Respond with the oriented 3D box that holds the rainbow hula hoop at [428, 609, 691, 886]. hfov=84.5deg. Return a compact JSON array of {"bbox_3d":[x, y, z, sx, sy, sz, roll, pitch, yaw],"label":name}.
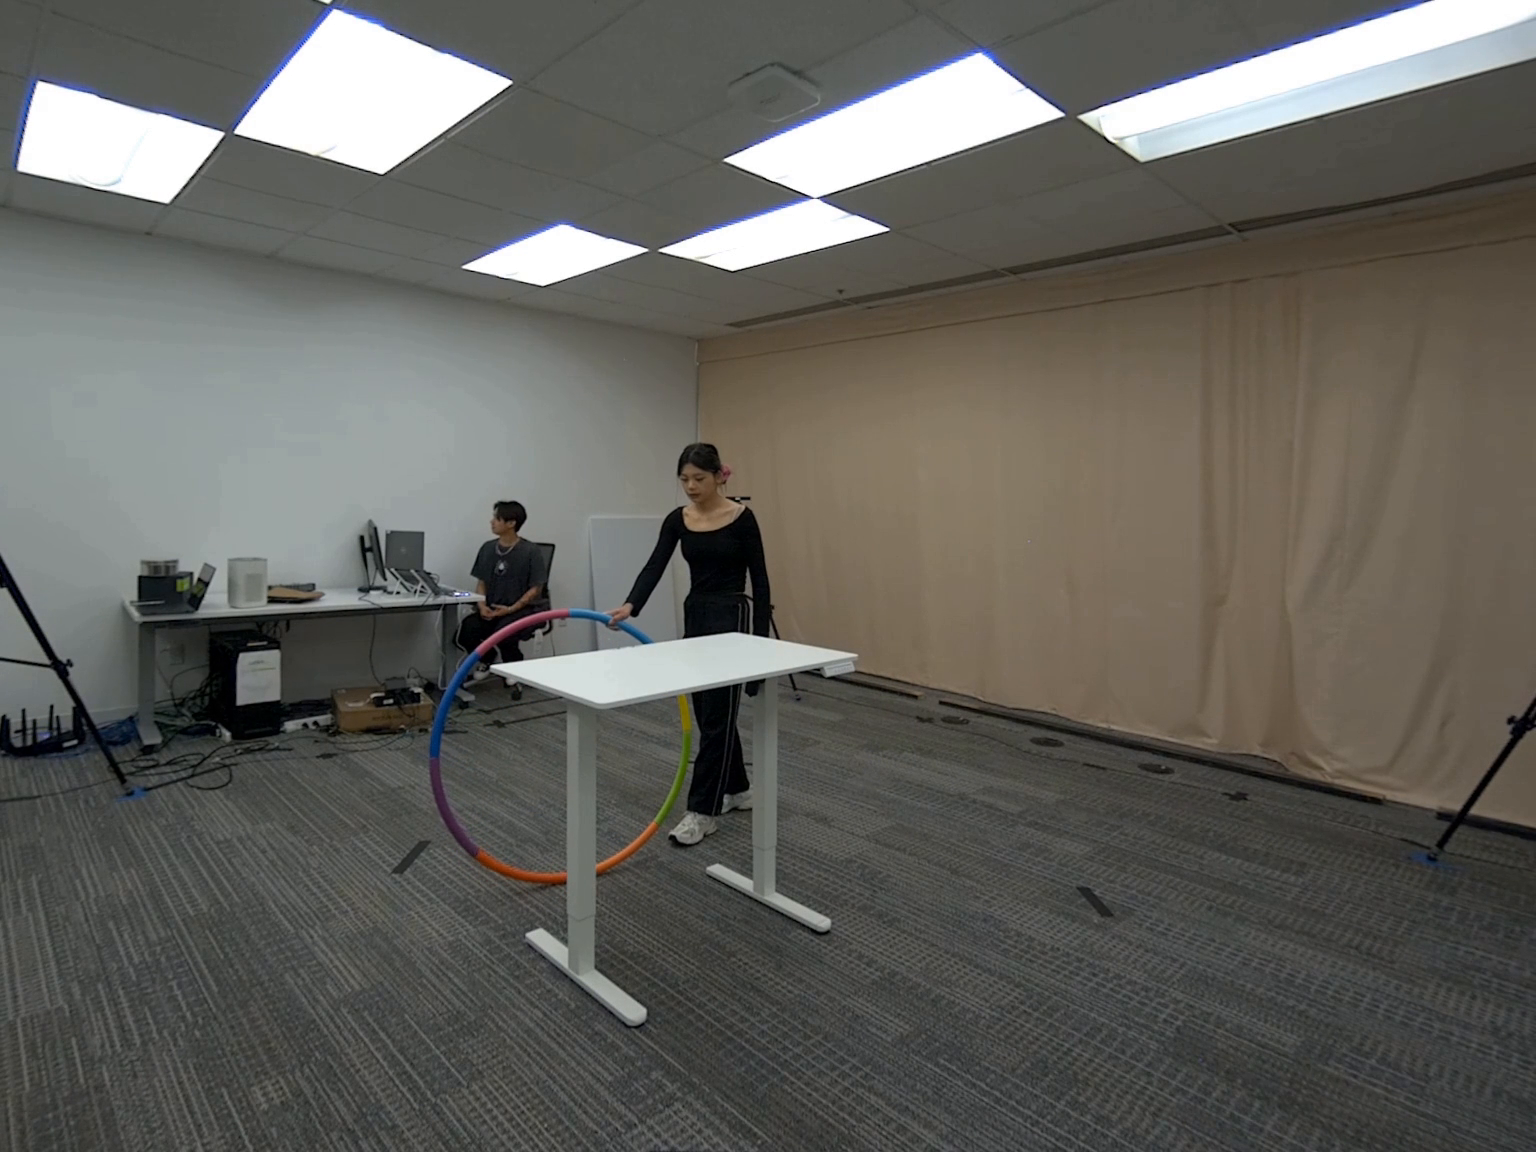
[{"bbox_3d":[-0.726,0.612,3.076,0.958,0.982,0.036,-1,-5,-31],"label":"rainbow hula hoop"}]
